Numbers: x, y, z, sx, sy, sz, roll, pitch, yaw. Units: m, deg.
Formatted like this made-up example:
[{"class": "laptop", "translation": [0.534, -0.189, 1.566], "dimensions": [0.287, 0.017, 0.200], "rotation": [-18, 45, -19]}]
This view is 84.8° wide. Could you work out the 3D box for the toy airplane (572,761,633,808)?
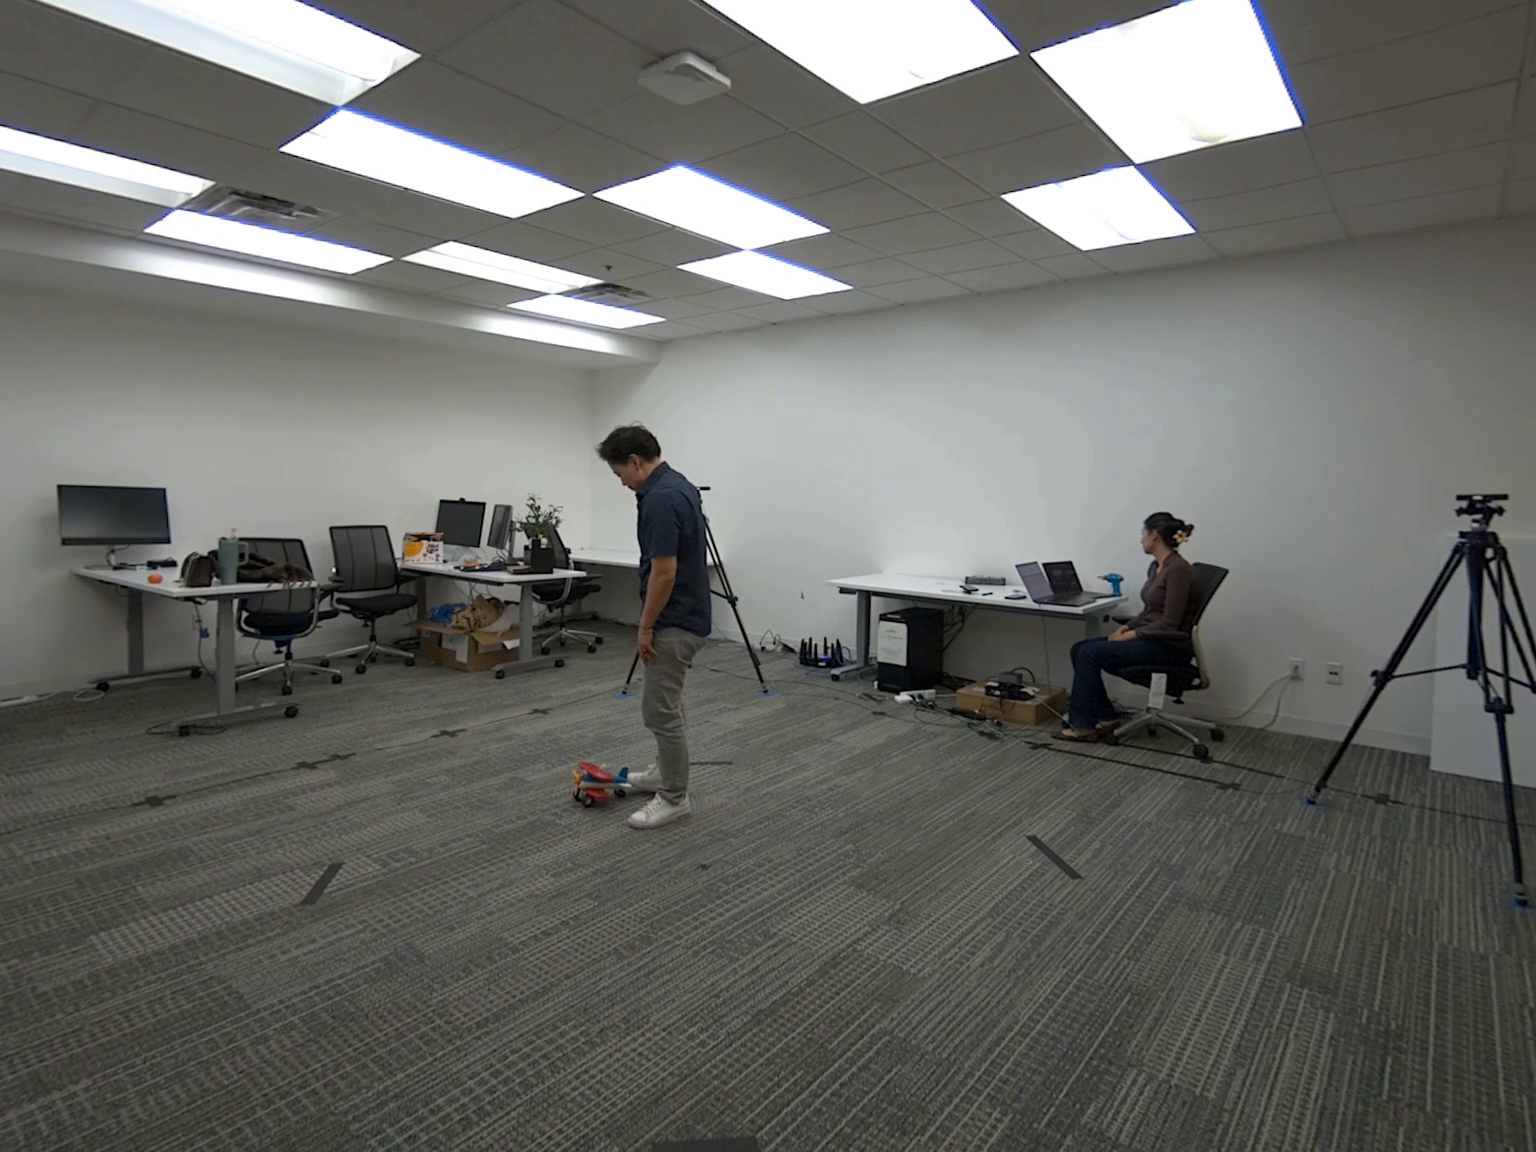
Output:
[{"class": "toy airplane", "translation": [-0.771, 0.921, 3.791], "dimensions": [0.258, 0.156, 0.254], "rotation": [1, 7, 27]}]
